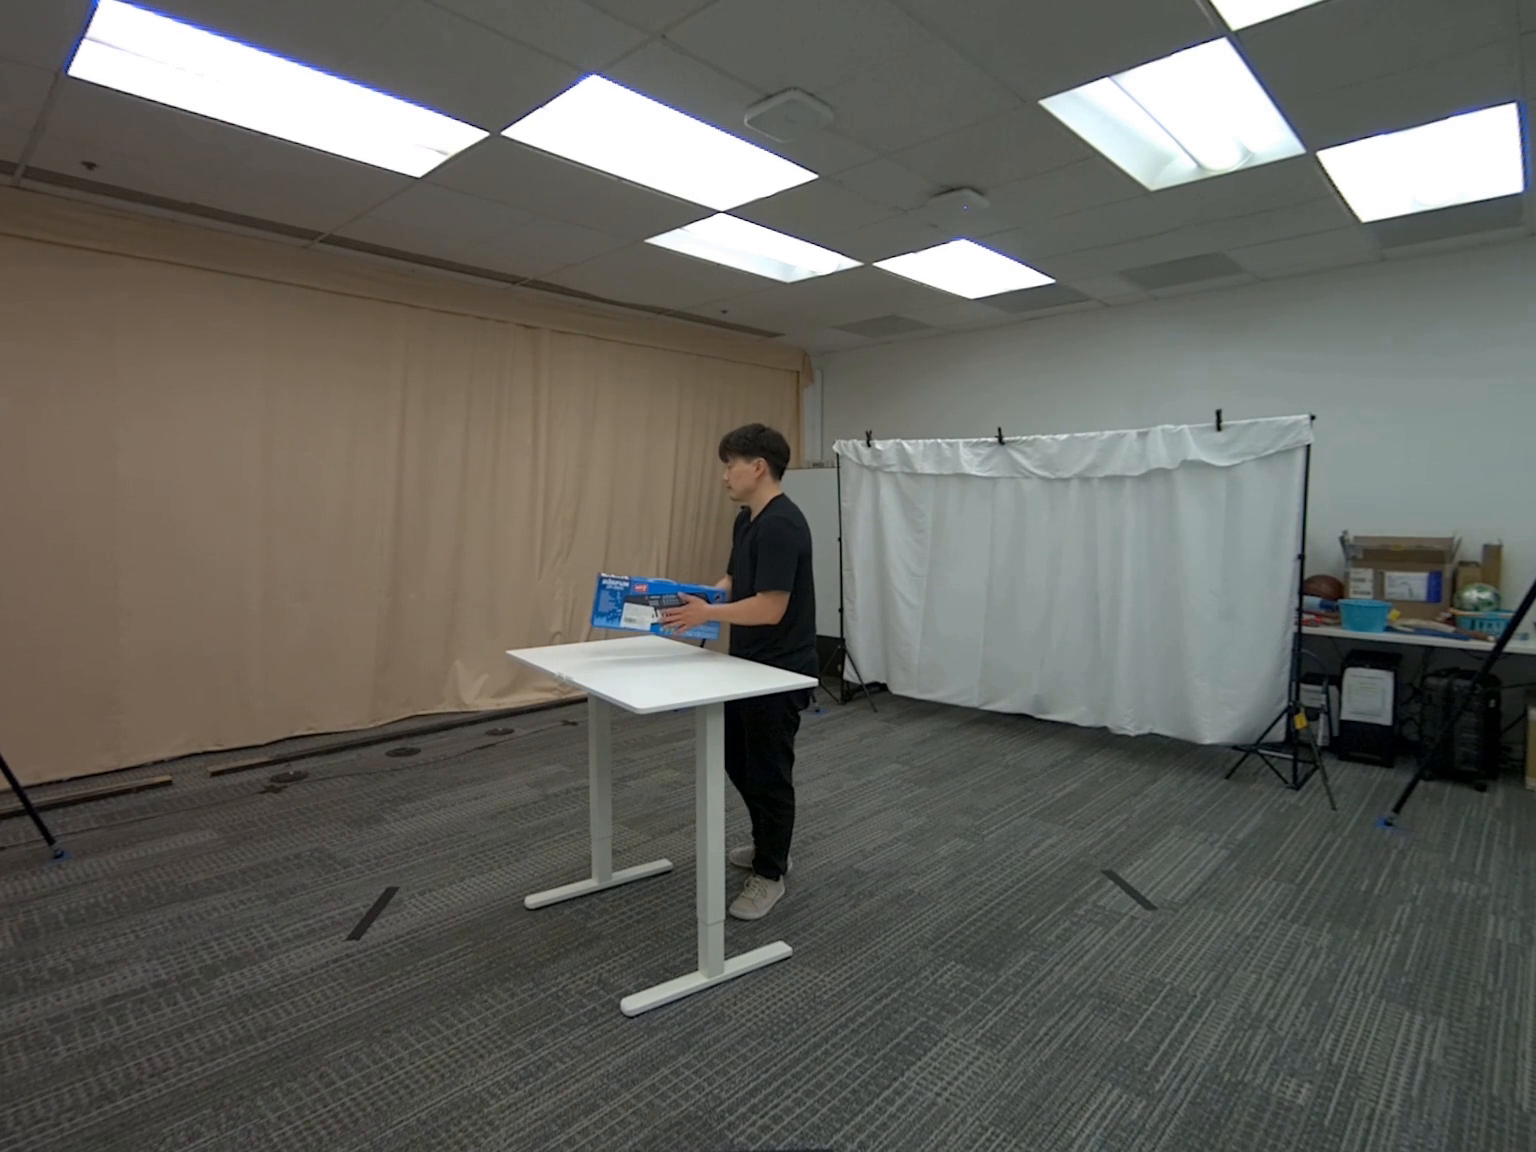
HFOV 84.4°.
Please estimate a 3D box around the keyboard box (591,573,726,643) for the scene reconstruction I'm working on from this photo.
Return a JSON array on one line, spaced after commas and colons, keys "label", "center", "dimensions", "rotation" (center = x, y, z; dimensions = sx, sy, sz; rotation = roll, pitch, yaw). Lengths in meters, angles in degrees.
[{"label": "keyboard box", "center": [-0.371, 0.106, 2.843], "dimensions": [0.429, 0.175, 0.060], "rotation": [8, 5, -16]}]
